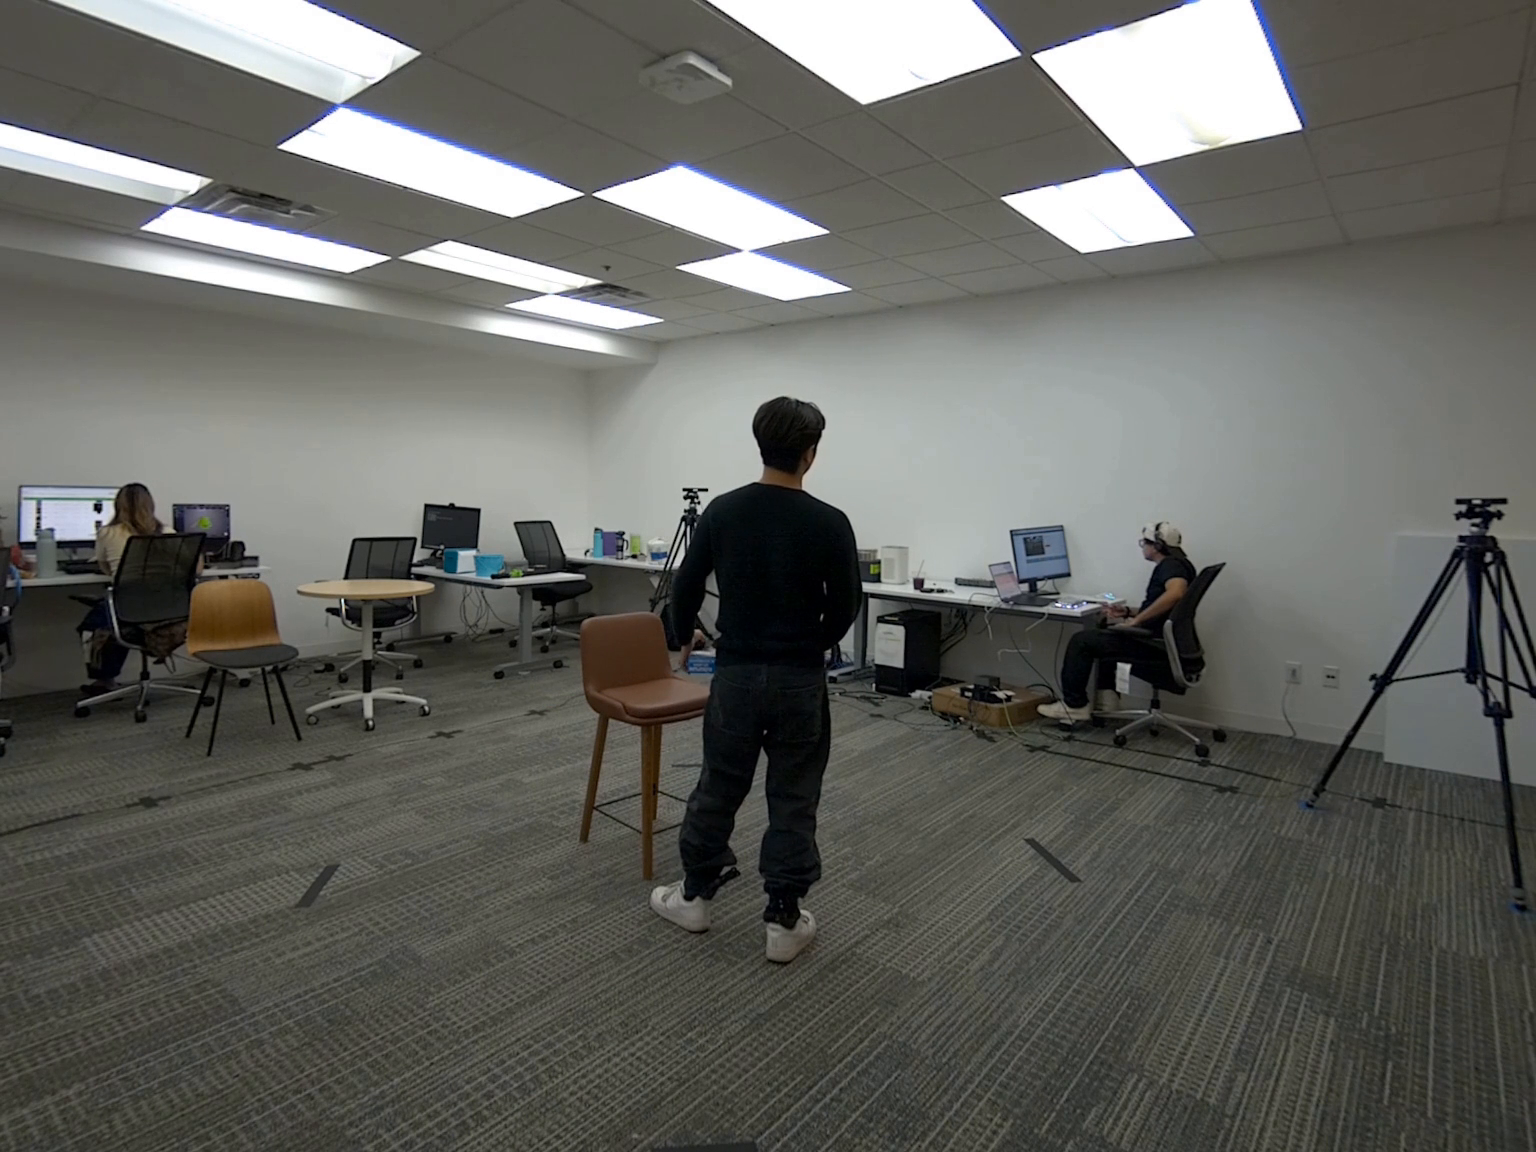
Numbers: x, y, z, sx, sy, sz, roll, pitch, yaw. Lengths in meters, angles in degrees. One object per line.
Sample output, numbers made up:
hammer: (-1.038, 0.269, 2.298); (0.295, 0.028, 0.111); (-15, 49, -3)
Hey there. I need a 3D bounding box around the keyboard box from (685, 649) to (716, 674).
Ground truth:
keyboard box: (-0.058, 0.297, 2.904); (0.439, 0.059, 0.175); (1, 0, 5)
